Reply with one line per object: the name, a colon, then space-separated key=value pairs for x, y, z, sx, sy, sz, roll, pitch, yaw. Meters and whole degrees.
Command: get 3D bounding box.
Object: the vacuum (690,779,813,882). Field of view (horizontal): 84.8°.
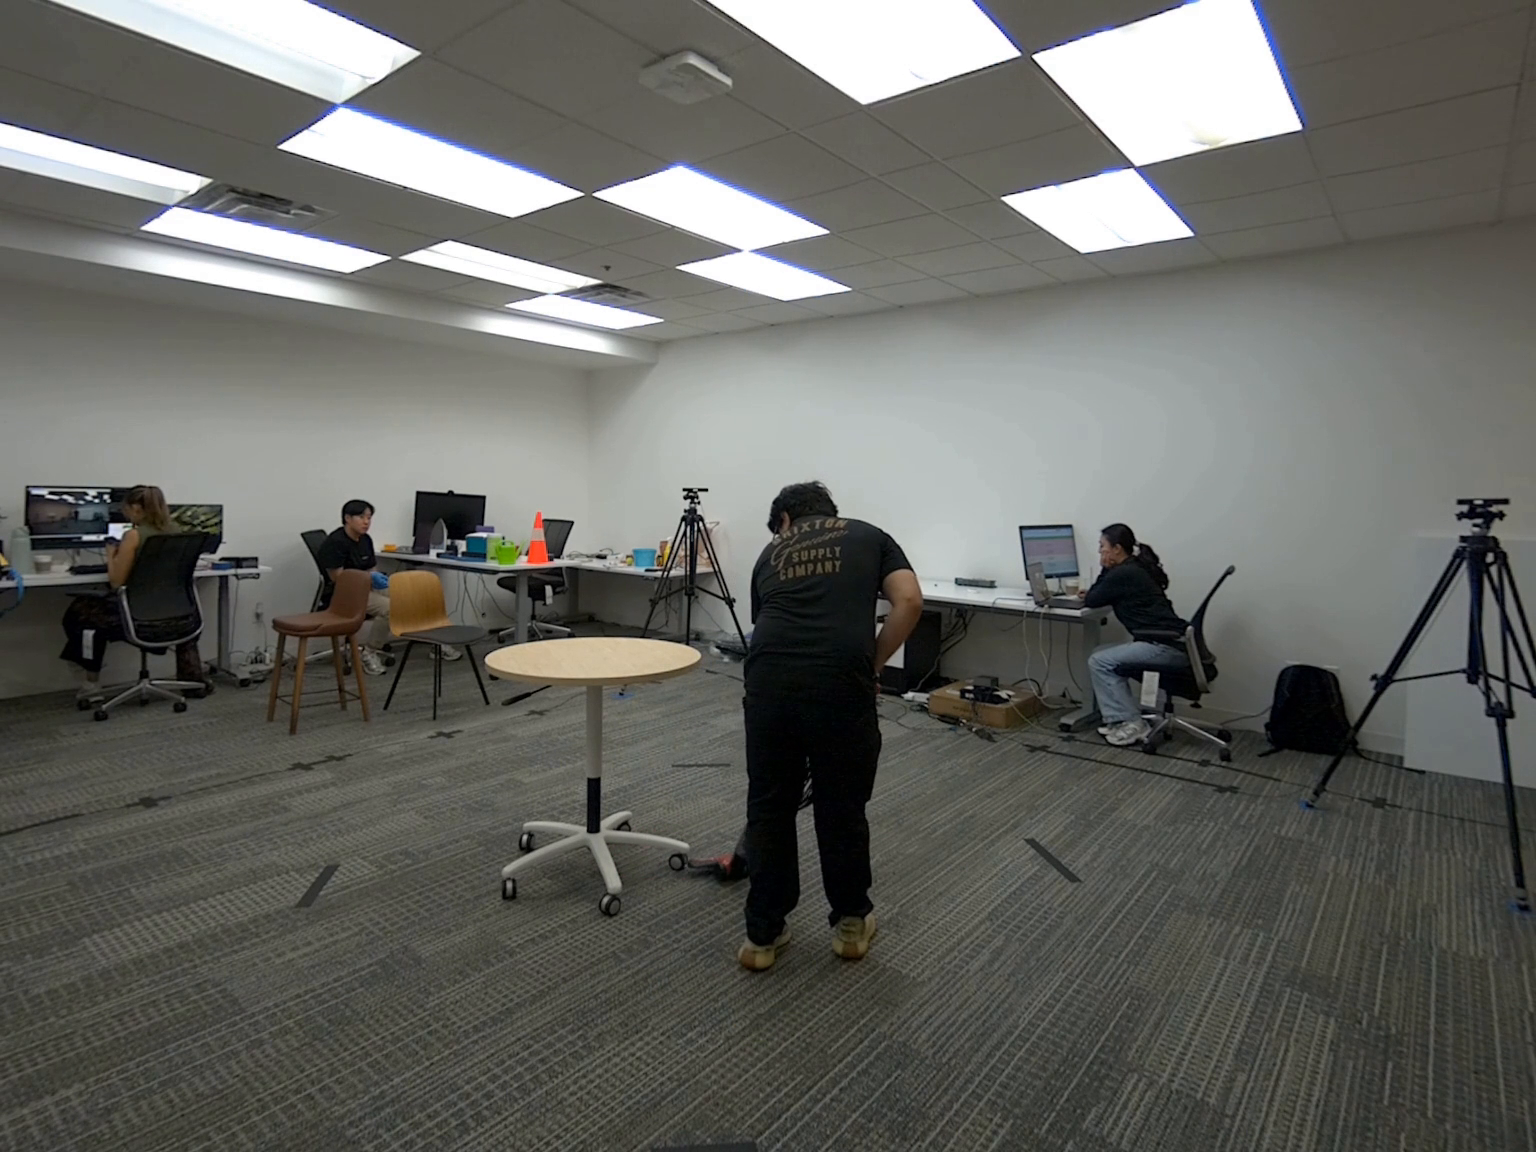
vacuum: x=0.069 y=0.679 z=2.798 sx=0.244 sy=1.041 sz=0.150 roll=5 pitch=41 yaw=-36
